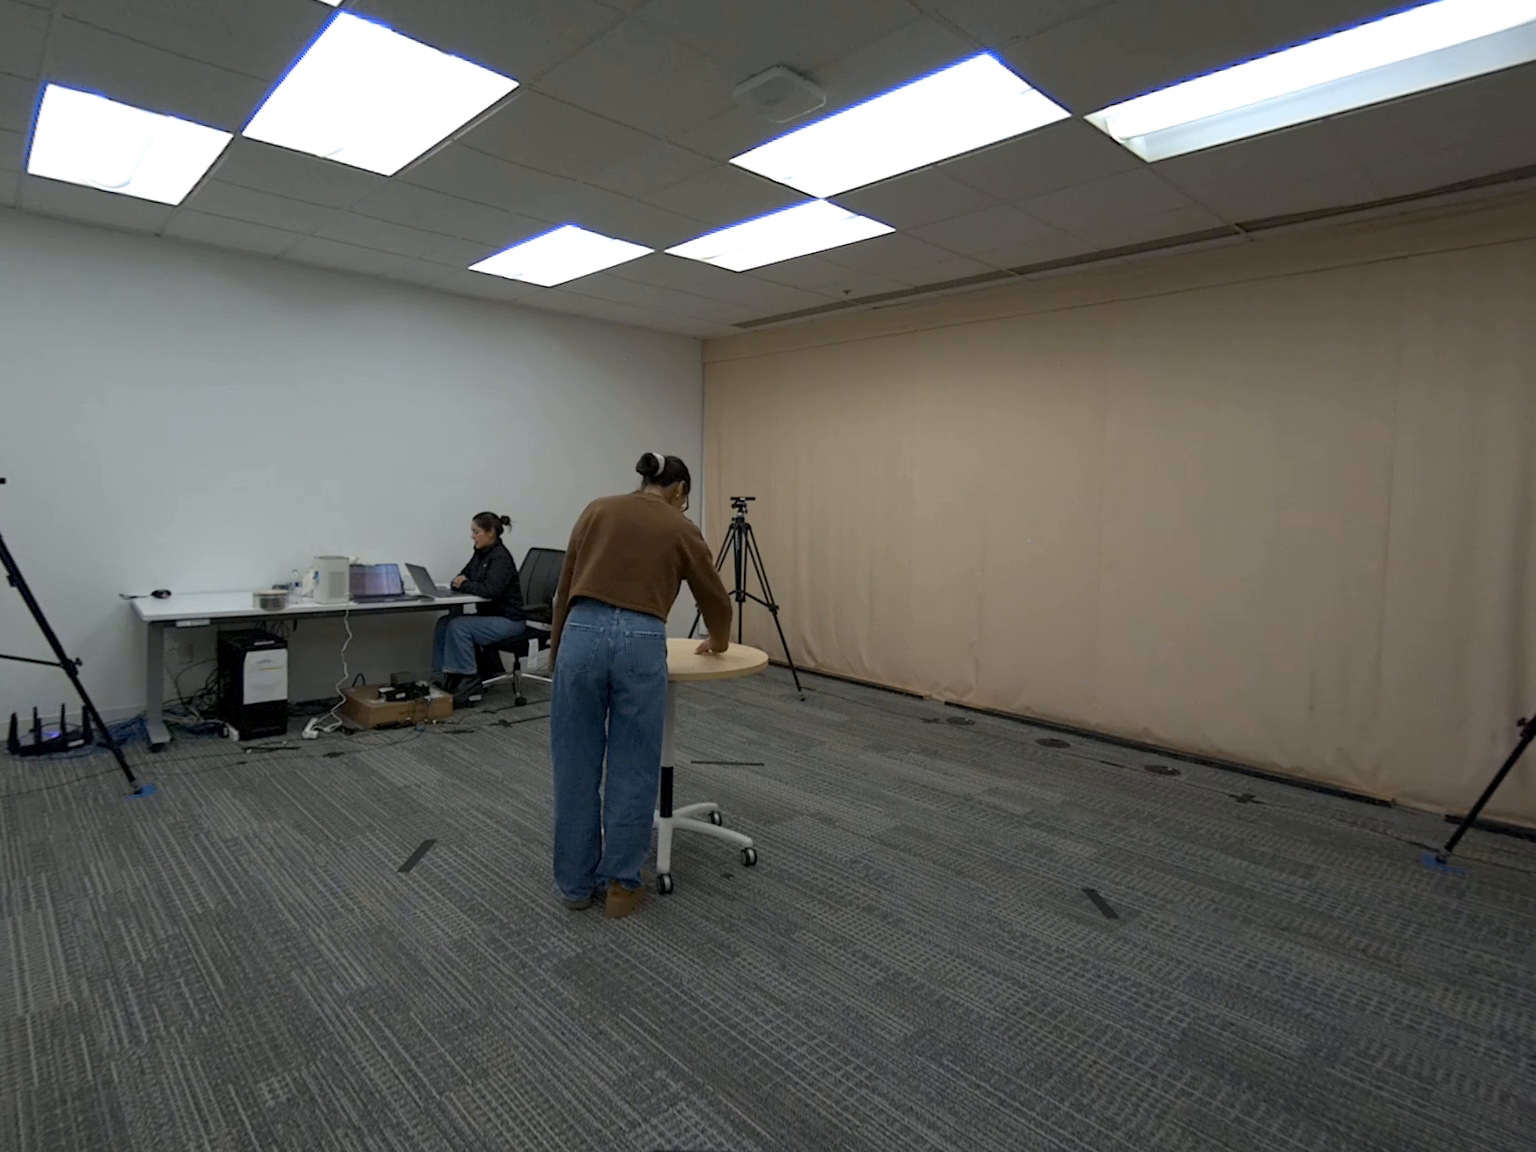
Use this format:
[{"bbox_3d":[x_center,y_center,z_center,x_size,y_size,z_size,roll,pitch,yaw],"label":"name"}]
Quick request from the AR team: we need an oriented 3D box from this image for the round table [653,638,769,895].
[{"bbox_3d":[-0.399,0.697,3.294,0.763,0.792,0.766,1,4,-1],"label":"round table"}]
